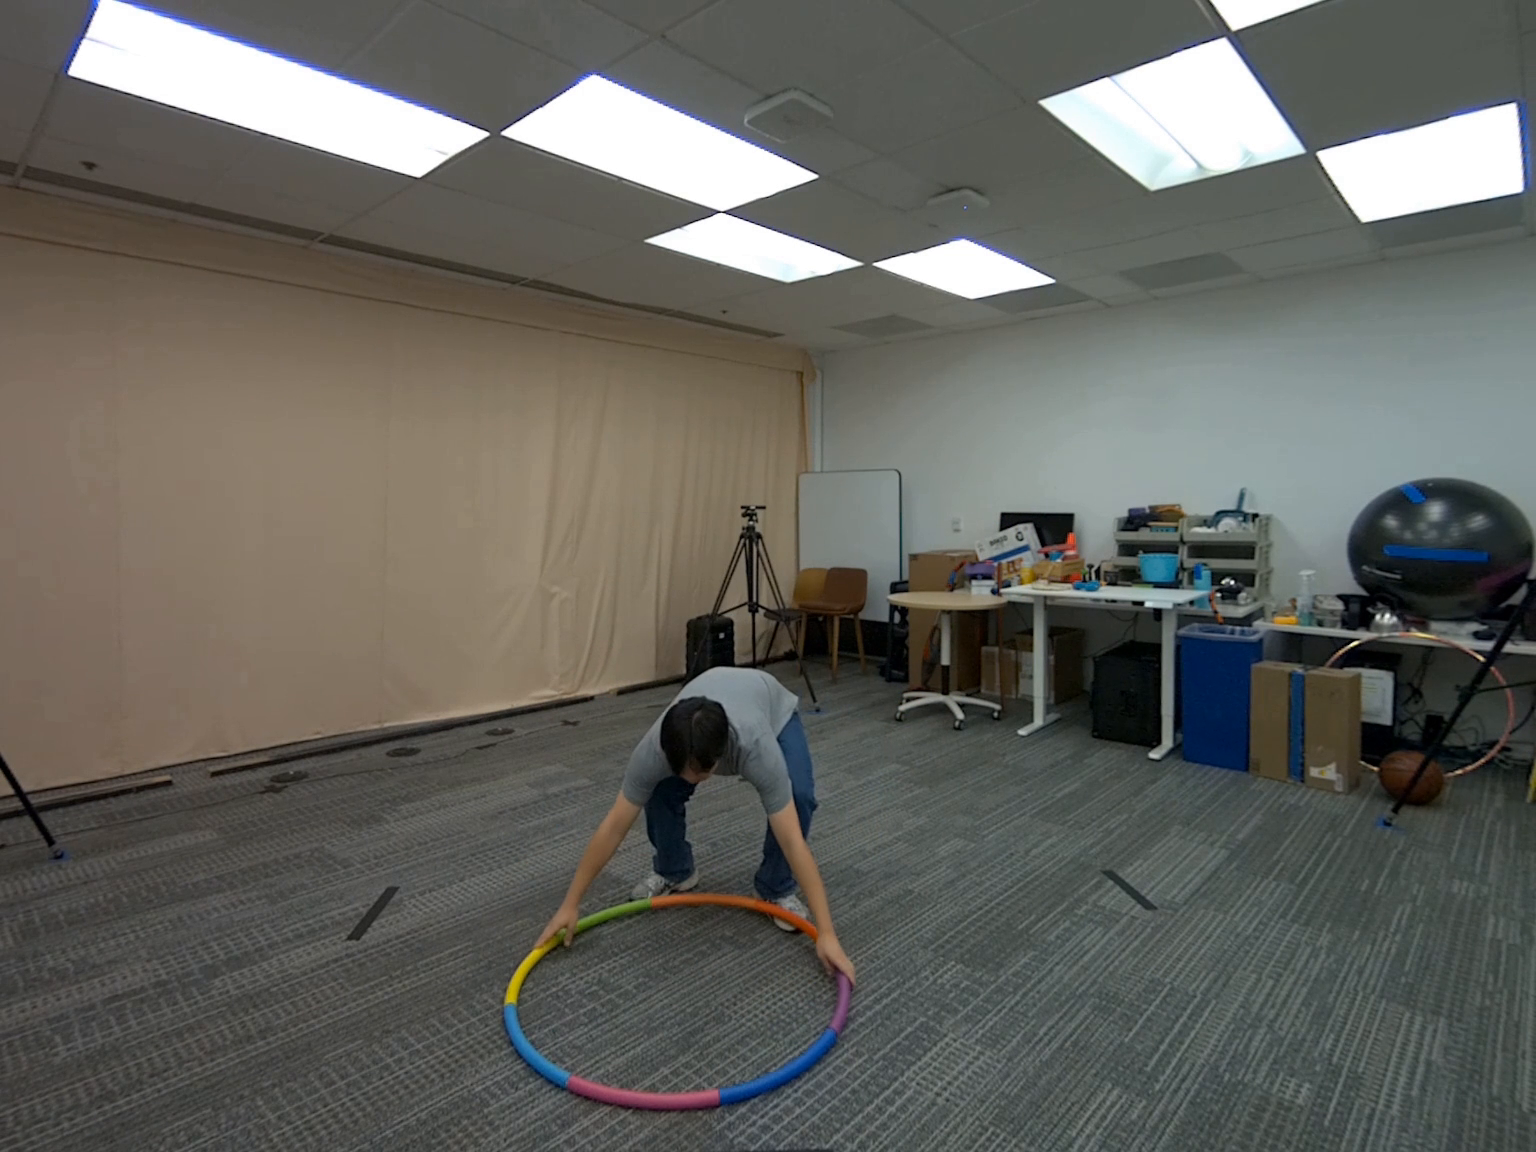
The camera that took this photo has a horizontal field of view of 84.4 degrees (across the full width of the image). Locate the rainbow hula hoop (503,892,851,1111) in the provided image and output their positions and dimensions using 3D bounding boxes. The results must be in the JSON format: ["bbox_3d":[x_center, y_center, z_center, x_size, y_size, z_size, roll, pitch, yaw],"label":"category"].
[{"bbox_3d":[-0.252,1.146,2.428,0.978,0.035,0.983,-1,6,-2],"label":"rainbow hula hoop"}]
